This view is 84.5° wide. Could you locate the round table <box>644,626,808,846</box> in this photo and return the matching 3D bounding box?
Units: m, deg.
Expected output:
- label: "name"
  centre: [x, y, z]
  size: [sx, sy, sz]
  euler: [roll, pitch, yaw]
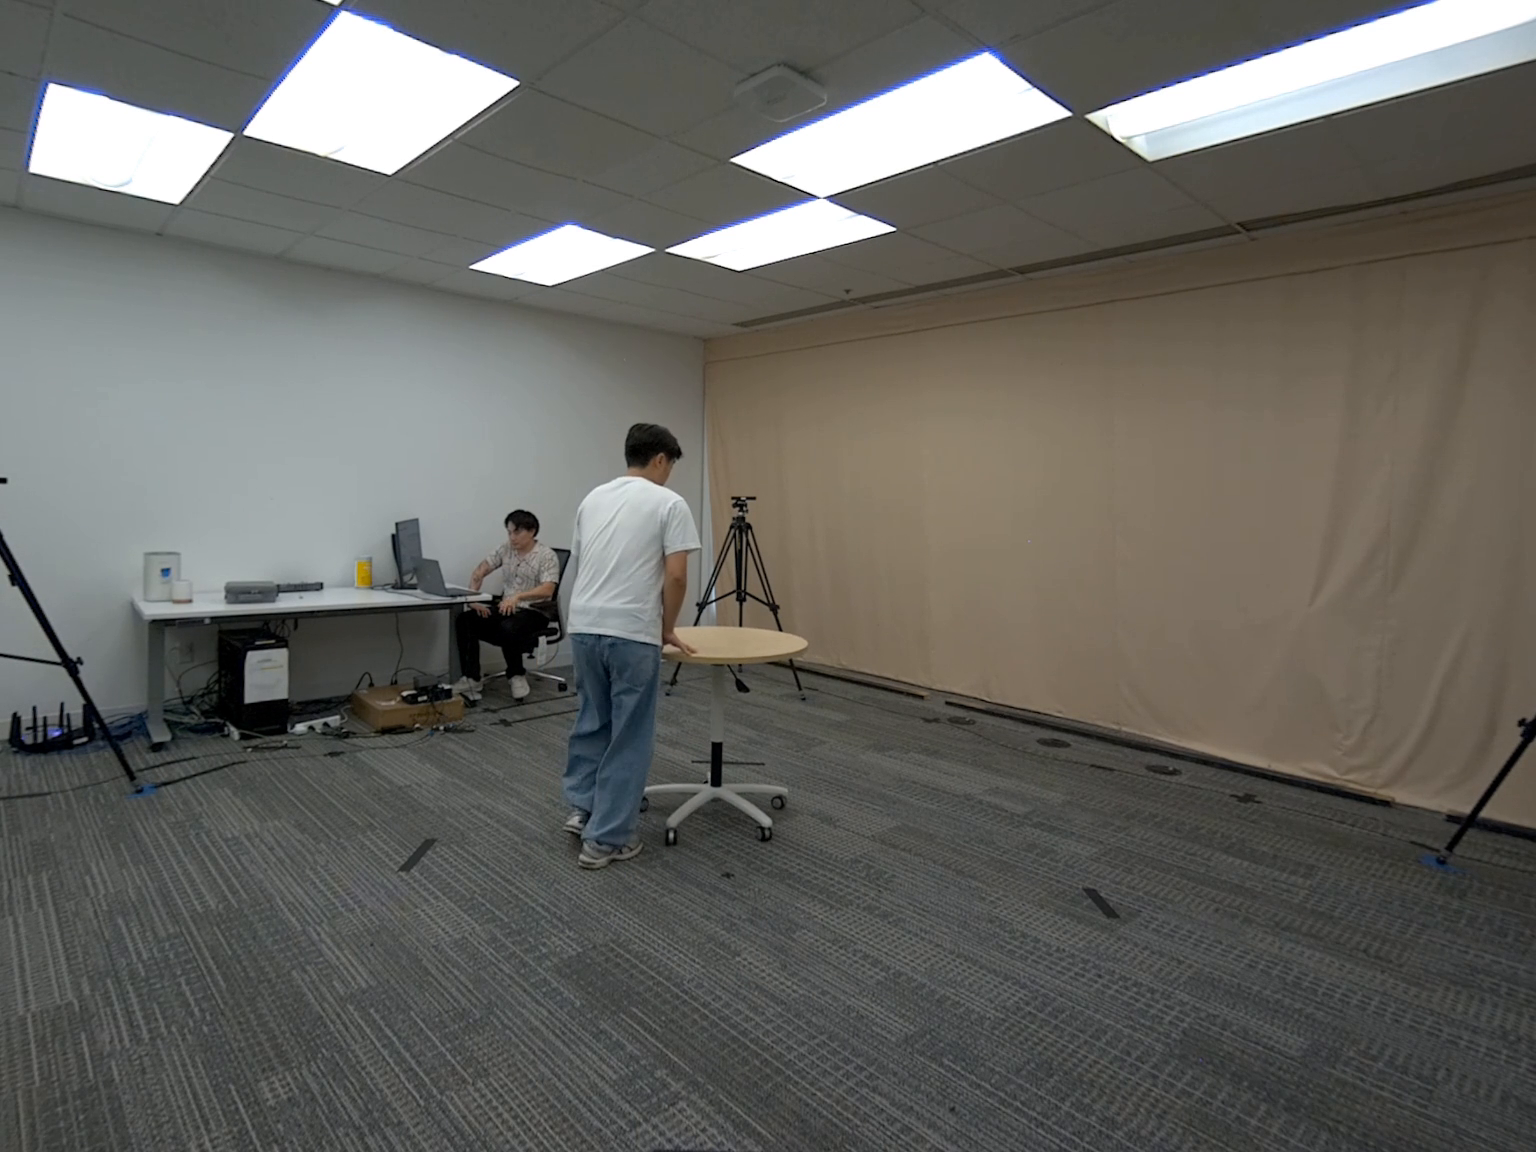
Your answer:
- label: "round table"
  centre: [-0.227, 0.670, 3.649]
  size: [0.763, 0.792, 0.766]
  euler: [2, 4, -1]
